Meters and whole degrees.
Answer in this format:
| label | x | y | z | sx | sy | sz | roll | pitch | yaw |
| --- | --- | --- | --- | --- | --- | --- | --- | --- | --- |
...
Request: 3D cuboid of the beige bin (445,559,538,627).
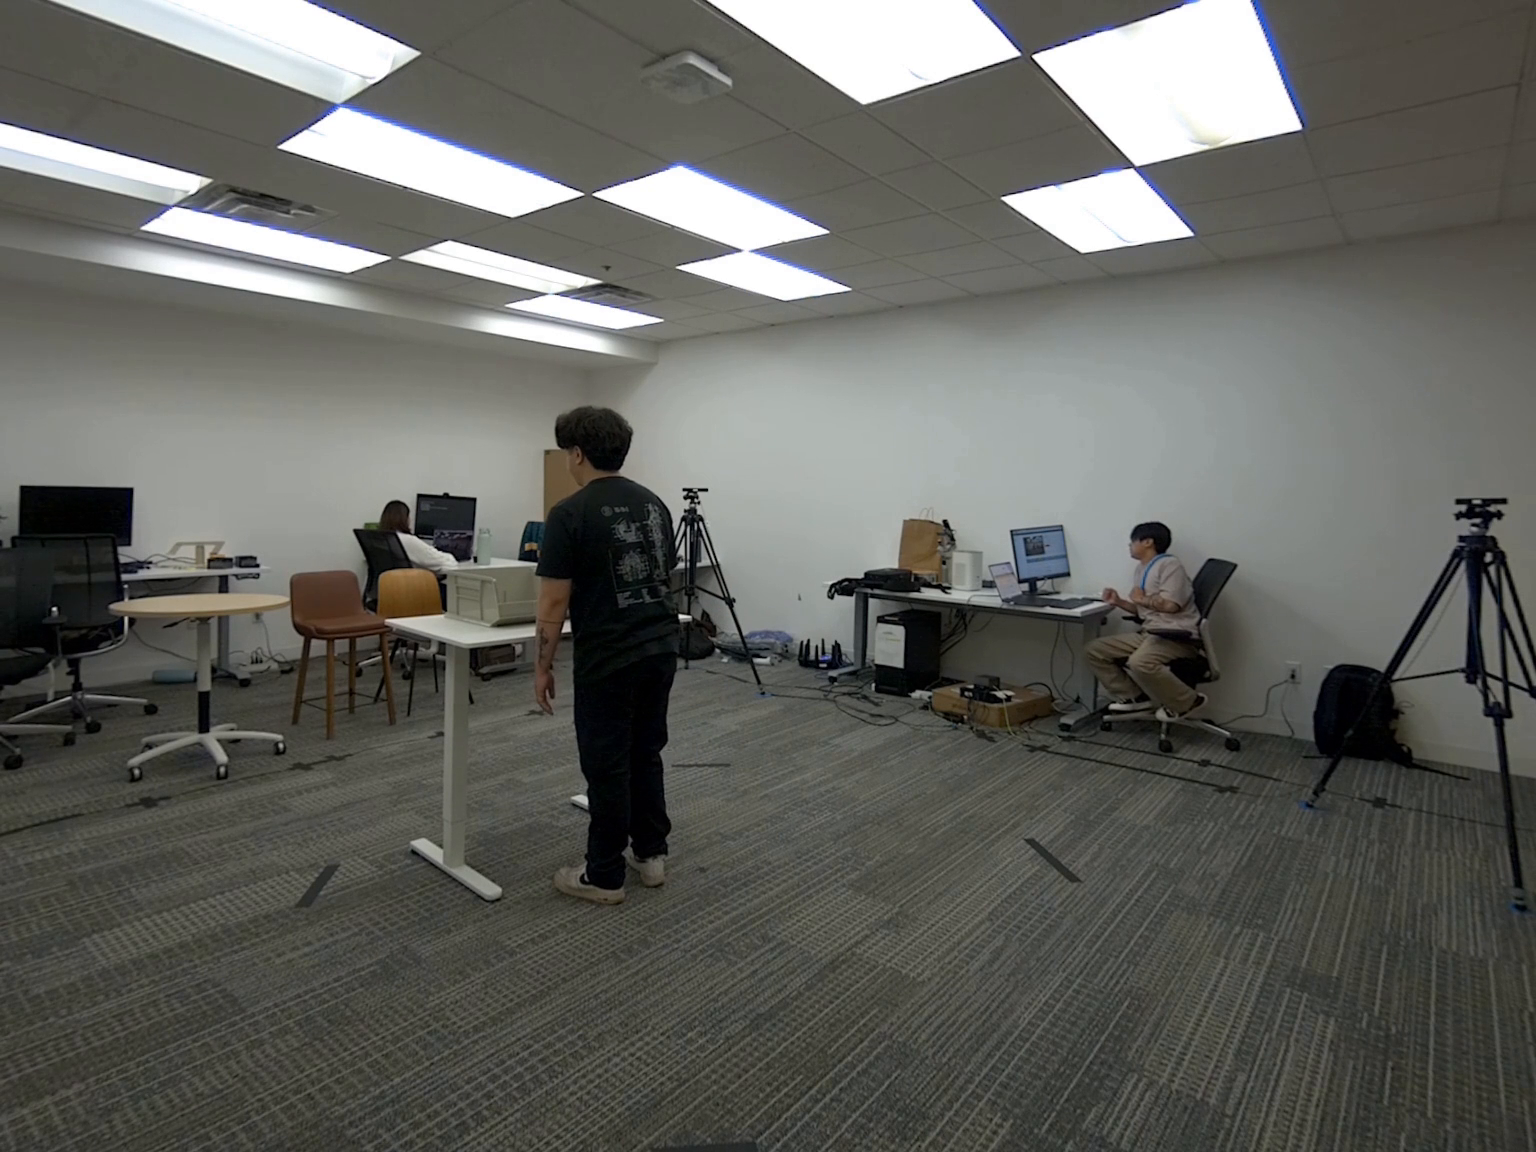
| label | x | y | z | sx | sy | sz | roll | pitch | yaw |
| --- | --- | --- | --- | --- | --- | --- | --- | --- | --- |
| beige bin | -0.967 | 0.072 | 3.255 | 0.390 | 0.188 | 0.410 | 5 | 6 | 41 |
